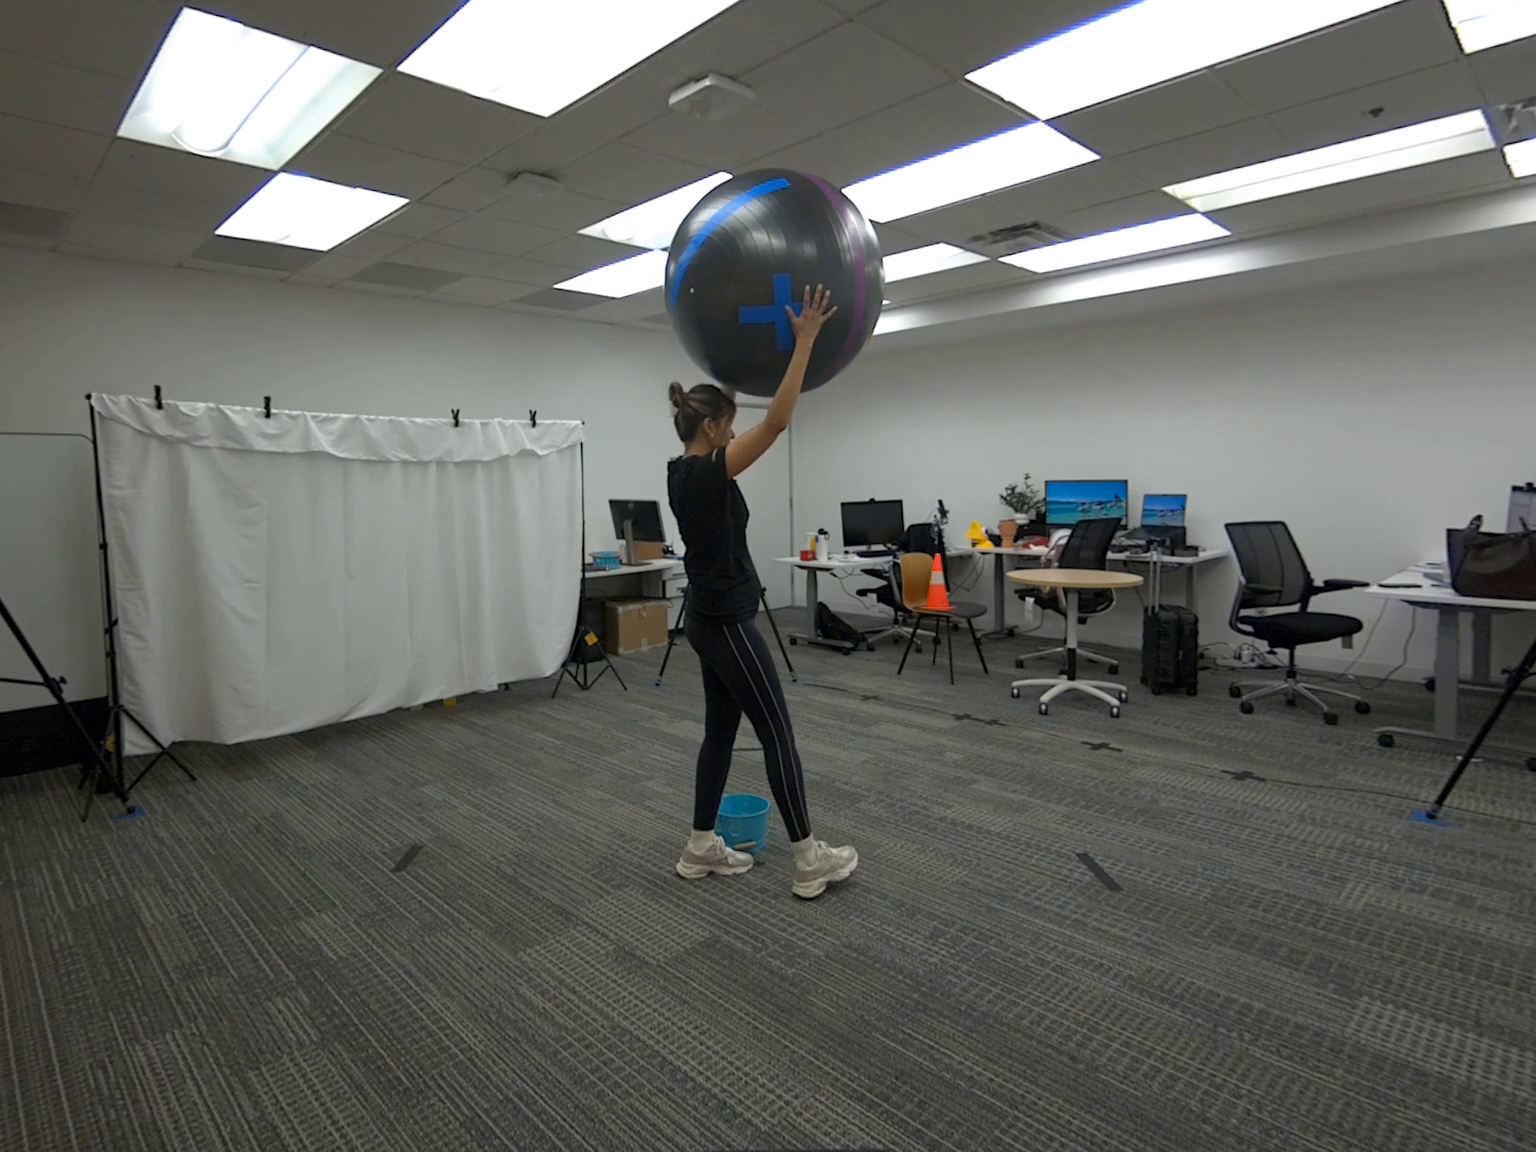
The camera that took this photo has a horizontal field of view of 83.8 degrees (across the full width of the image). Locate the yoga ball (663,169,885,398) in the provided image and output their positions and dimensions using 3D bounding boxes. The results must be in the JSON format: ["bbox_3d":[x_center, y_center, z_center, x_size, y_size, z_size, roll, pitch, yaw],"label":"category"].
[{"bbox_3d":[0.022,-0.993,2.949,0.757,0.755,0.762,-1,5,-2],"label":"yoga ball"}]
